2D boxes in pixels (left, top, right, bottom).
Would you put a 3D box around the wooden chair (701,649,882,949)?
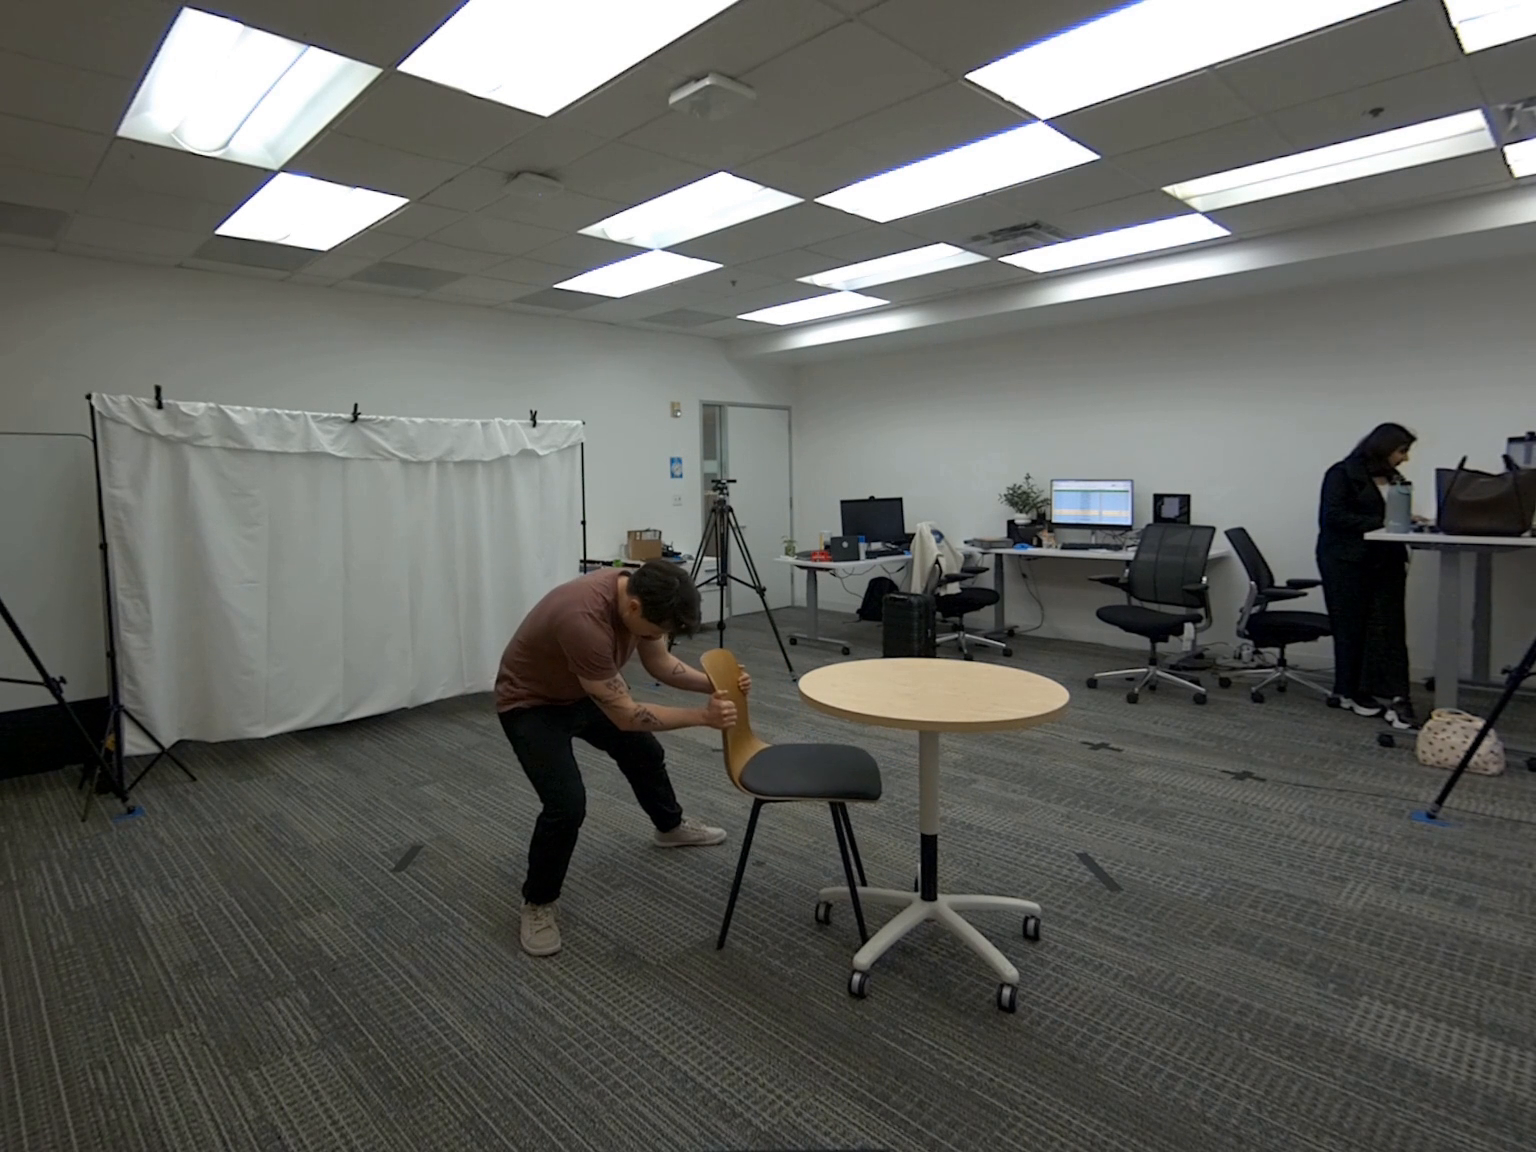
[{"bbox_3d":[0.093,0.660,2.709,0.528,0.875,0.476,-4,3,9],"label":"wooden chair"}]
